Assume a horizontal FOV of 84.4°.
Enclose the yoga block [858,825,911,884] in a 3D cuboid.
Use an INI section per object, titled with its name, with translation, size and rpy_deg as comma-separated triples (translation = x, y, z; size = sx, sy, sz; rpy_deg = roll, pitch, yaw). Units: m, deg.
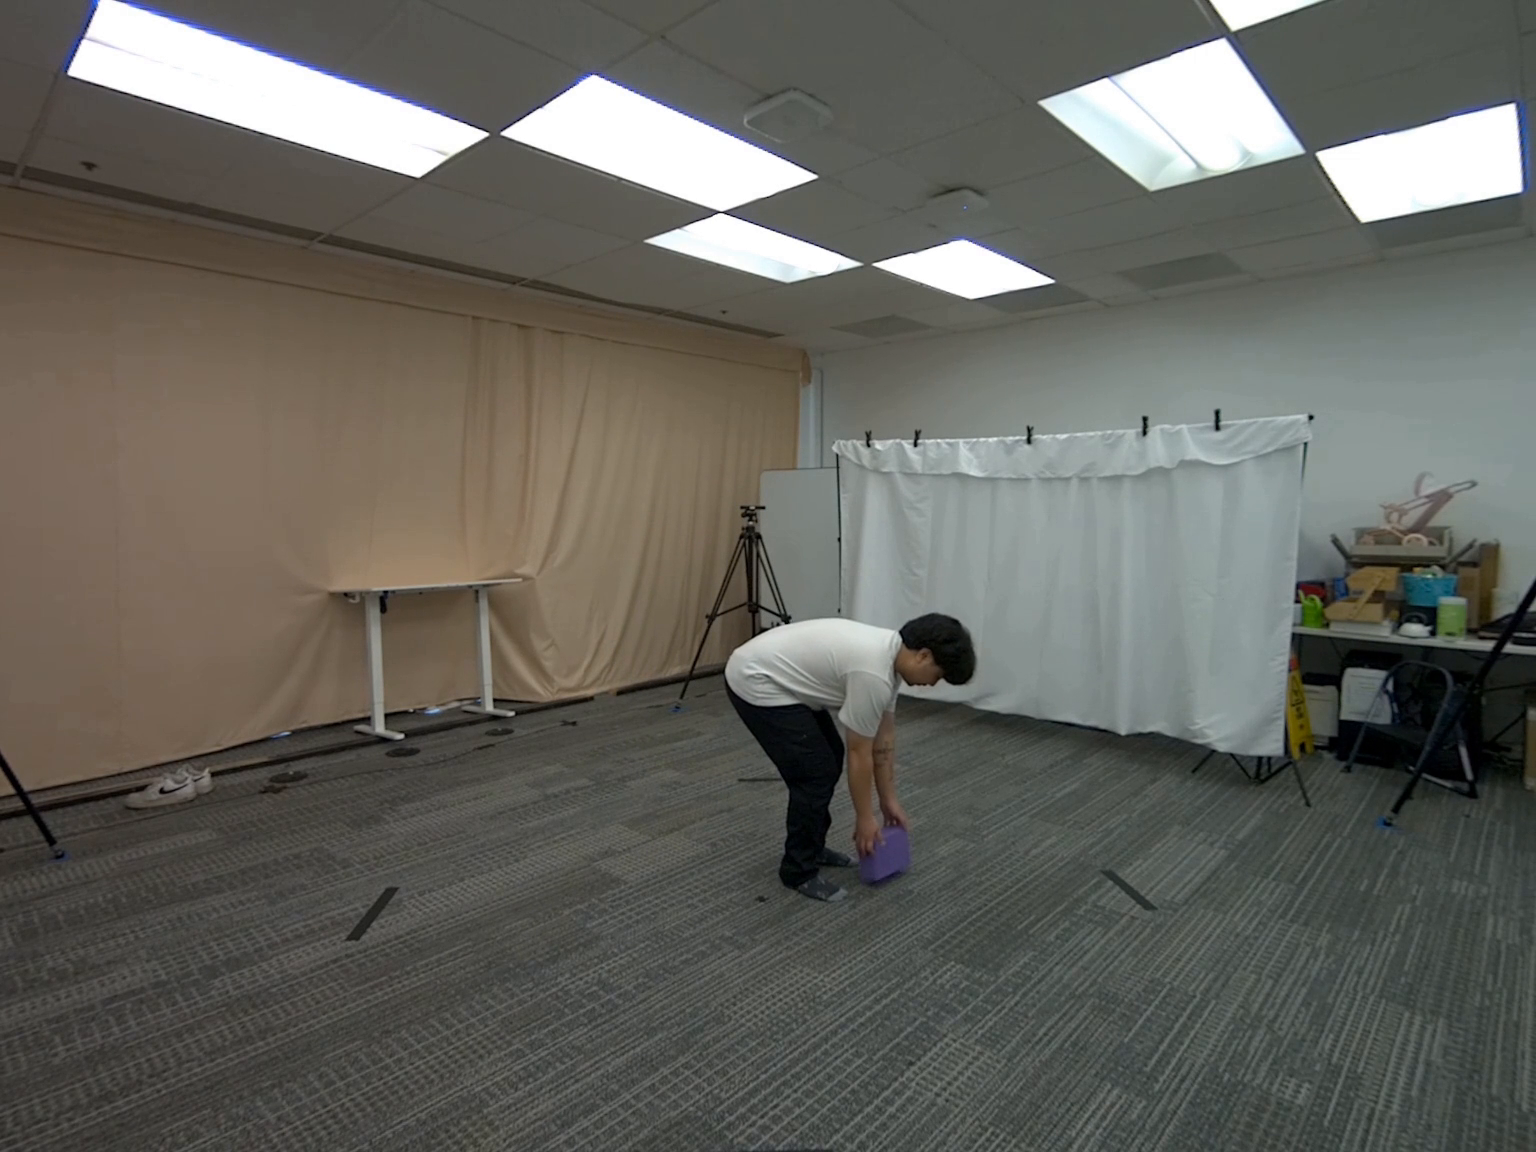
[yoga block]
translation = 0.436, 1.020, 3.133
size = 0.222, 0.149, 0.079
rpy_deg = -3, -3, -45
